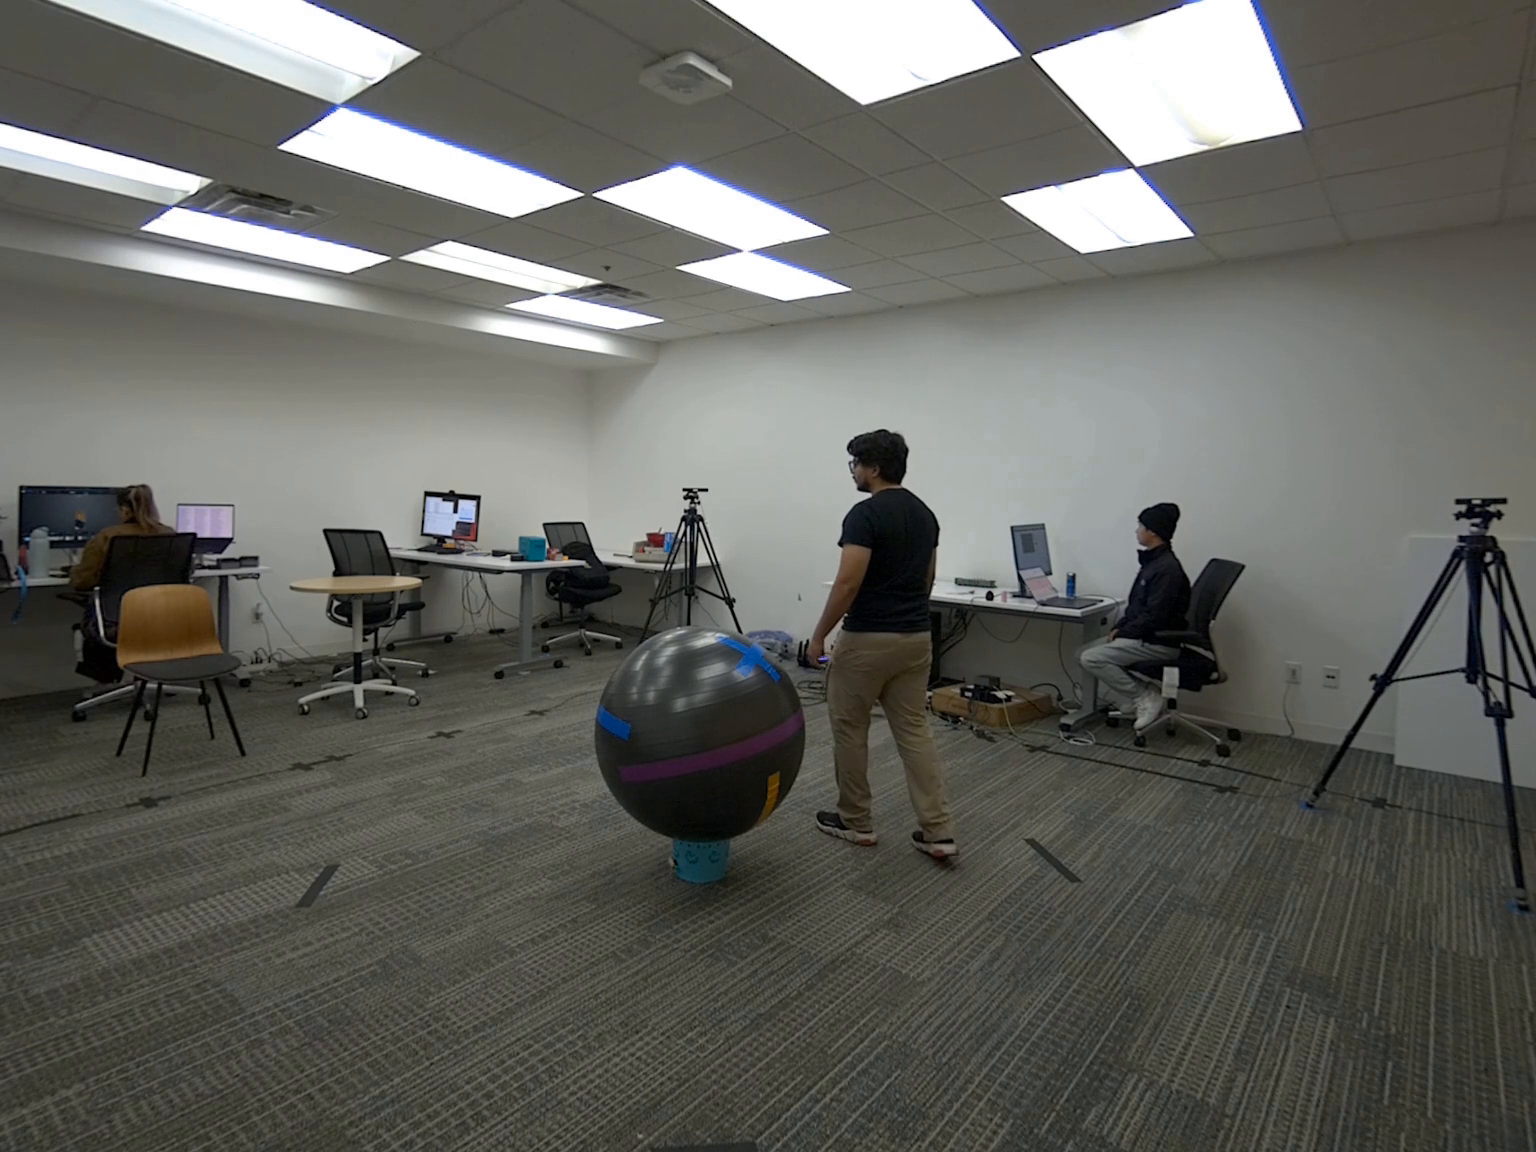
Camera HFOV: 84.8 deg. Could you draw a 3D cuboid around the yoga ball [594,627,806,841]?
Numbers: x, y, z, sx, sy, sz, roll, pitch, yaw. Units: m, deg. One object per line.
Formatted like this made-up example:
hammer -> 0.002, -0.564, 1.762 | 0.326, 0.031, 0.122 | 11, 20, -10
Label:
yoga ball -> -0.258, 0.560, 3.073 | 0.757, 0.756, 0.762 | 1, 4, -2
